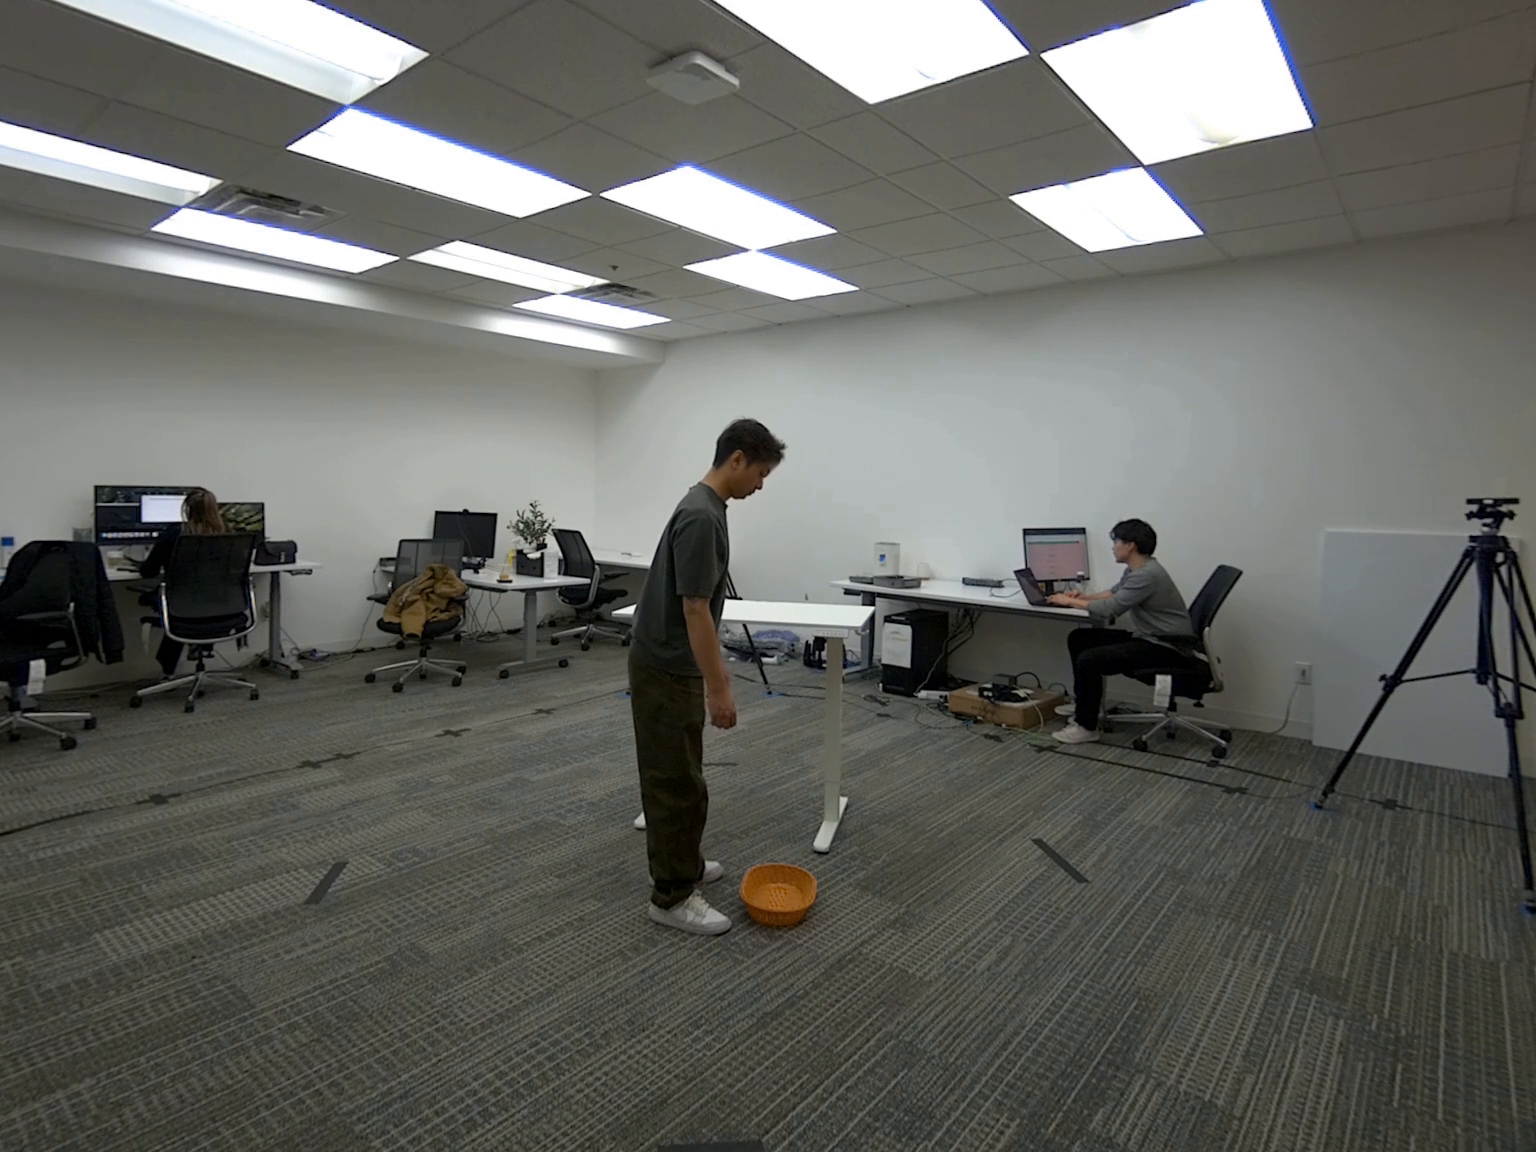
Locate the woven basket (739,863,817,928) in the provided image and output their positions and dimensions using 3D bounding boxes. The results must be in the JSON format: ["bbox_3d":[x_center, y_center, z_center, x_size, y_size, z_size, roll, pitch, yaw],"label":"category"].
[{"bbox_3d":[0.026,1.064,2.834,0.256,0.073,0.347,3,6,11],"label":"woven basket"}]
